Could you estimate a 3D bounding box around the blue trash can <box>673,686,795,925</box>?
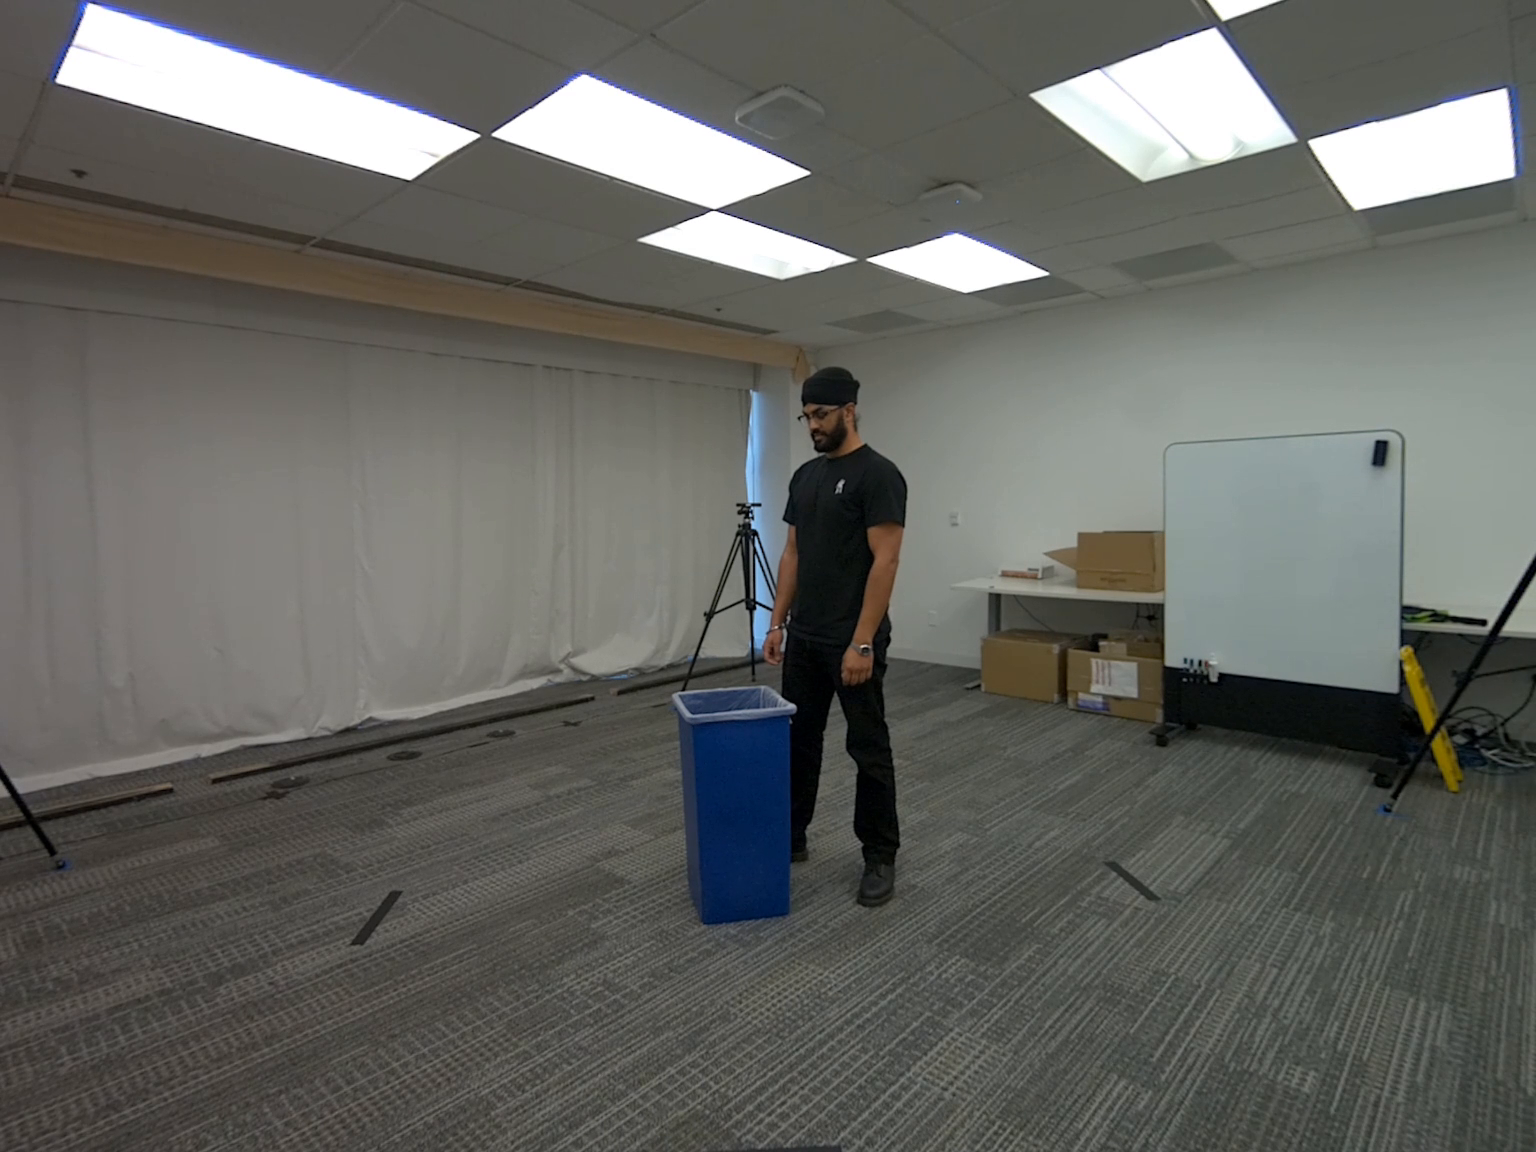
[{"bbox_3d":[-0.110,0.781,2.946,0.369,0.712,0.384,-3,4,-13],"label":"blue trash can"}]
